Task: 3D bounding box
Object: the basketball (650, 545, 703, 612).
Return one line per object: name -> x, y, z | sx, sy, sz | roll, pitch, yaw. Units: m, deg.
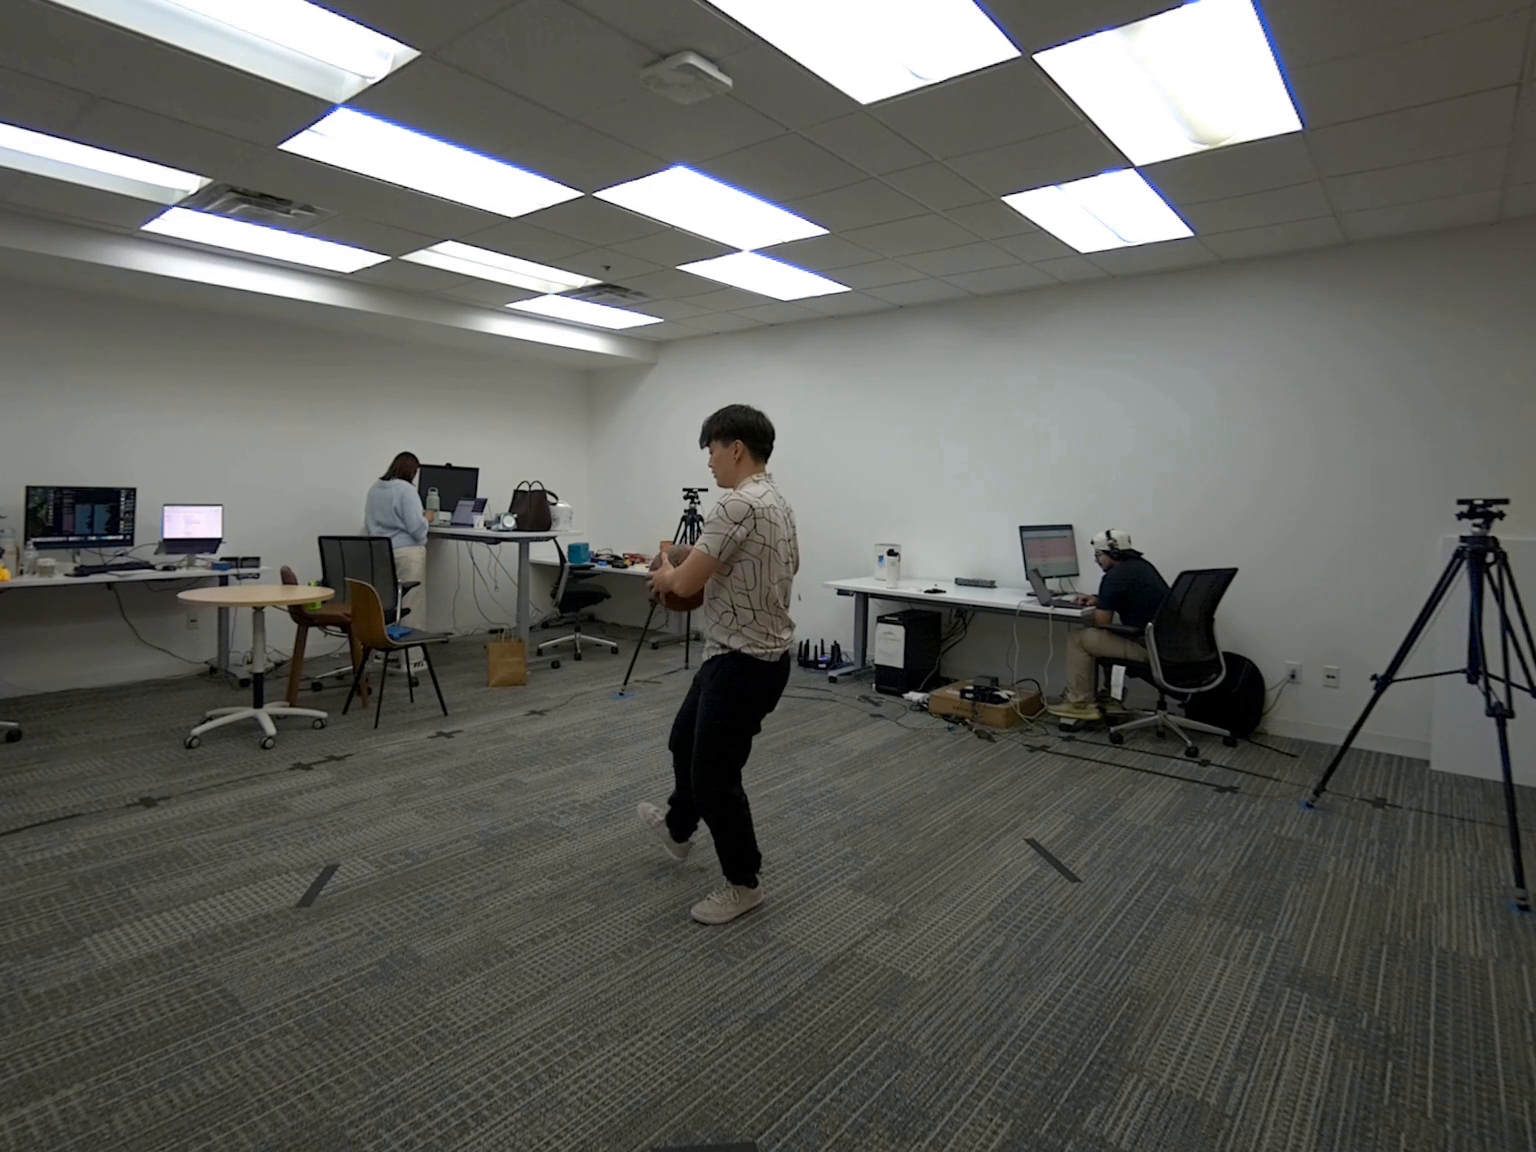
basketball -> -0.301, 0.018, 2.987 | 0.235, 0.235, 0.237 | 1, 4, -2
